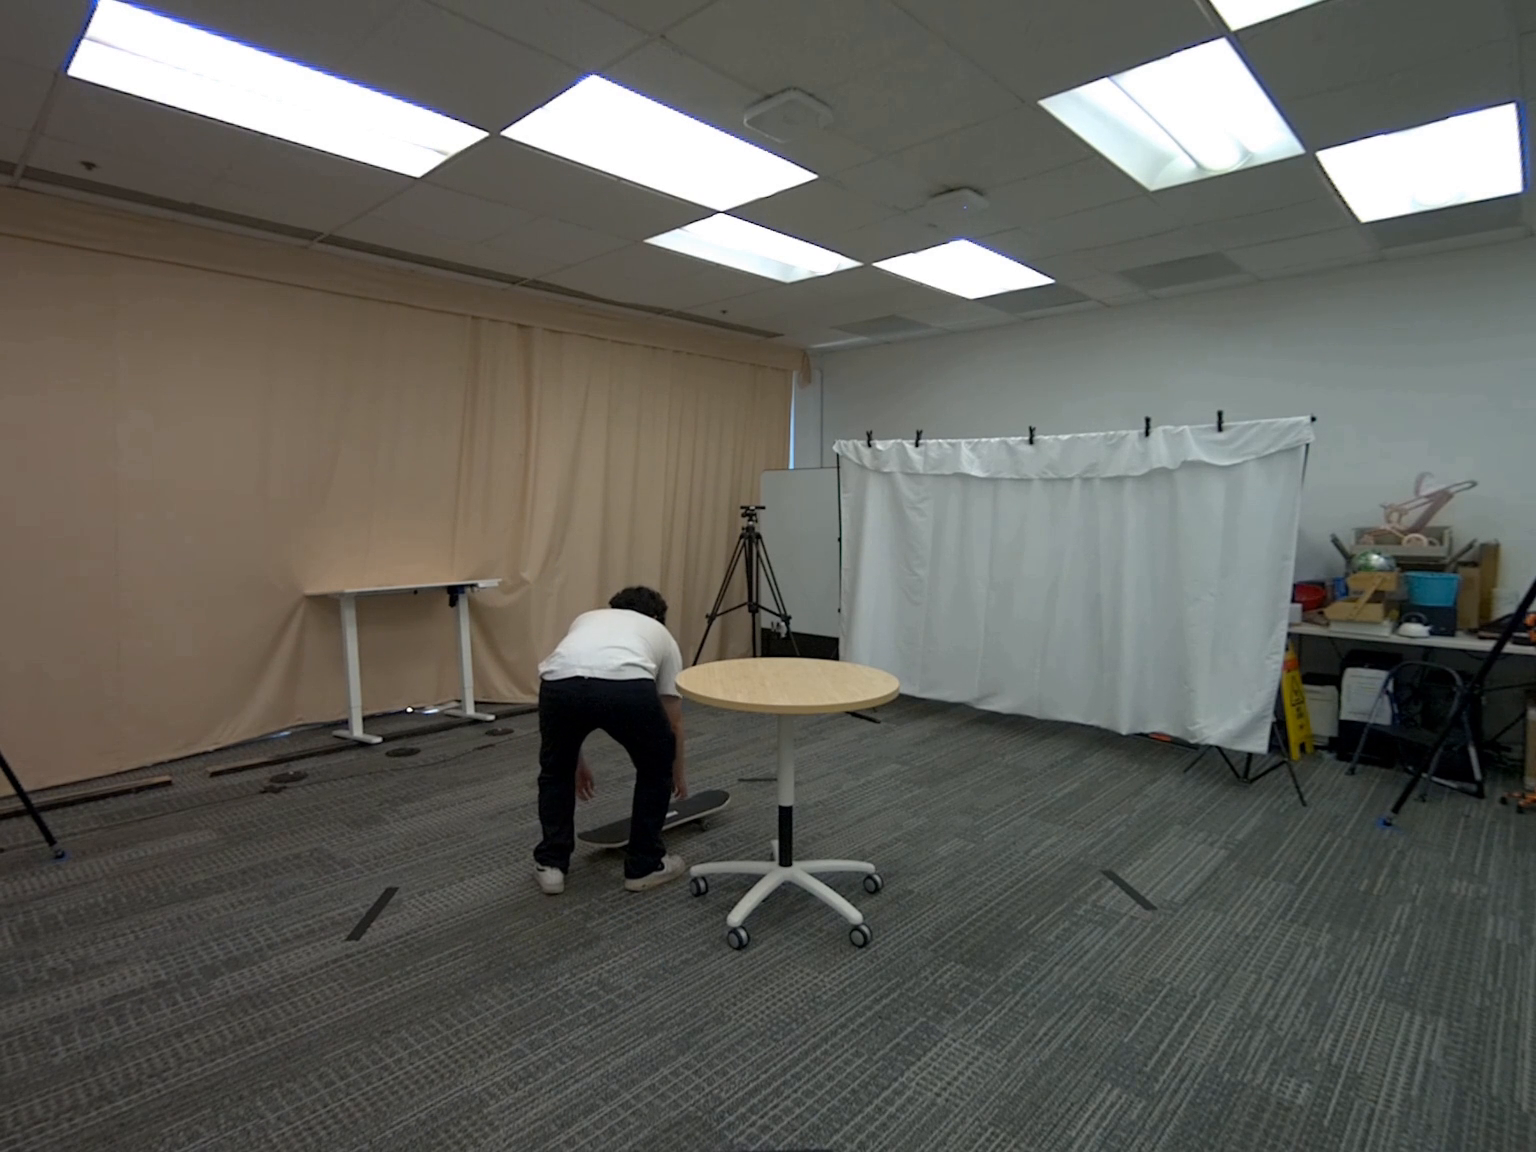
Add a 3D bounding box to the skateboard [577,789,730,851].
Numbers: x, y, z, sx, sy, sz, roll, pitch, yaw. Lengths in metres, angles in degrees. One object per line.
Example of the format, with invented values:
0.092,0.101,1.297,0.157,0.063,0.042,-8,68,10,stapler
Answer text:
-0.471,1.055,3.533,0.200,0.110,0.761,3,6,44,skateboard
